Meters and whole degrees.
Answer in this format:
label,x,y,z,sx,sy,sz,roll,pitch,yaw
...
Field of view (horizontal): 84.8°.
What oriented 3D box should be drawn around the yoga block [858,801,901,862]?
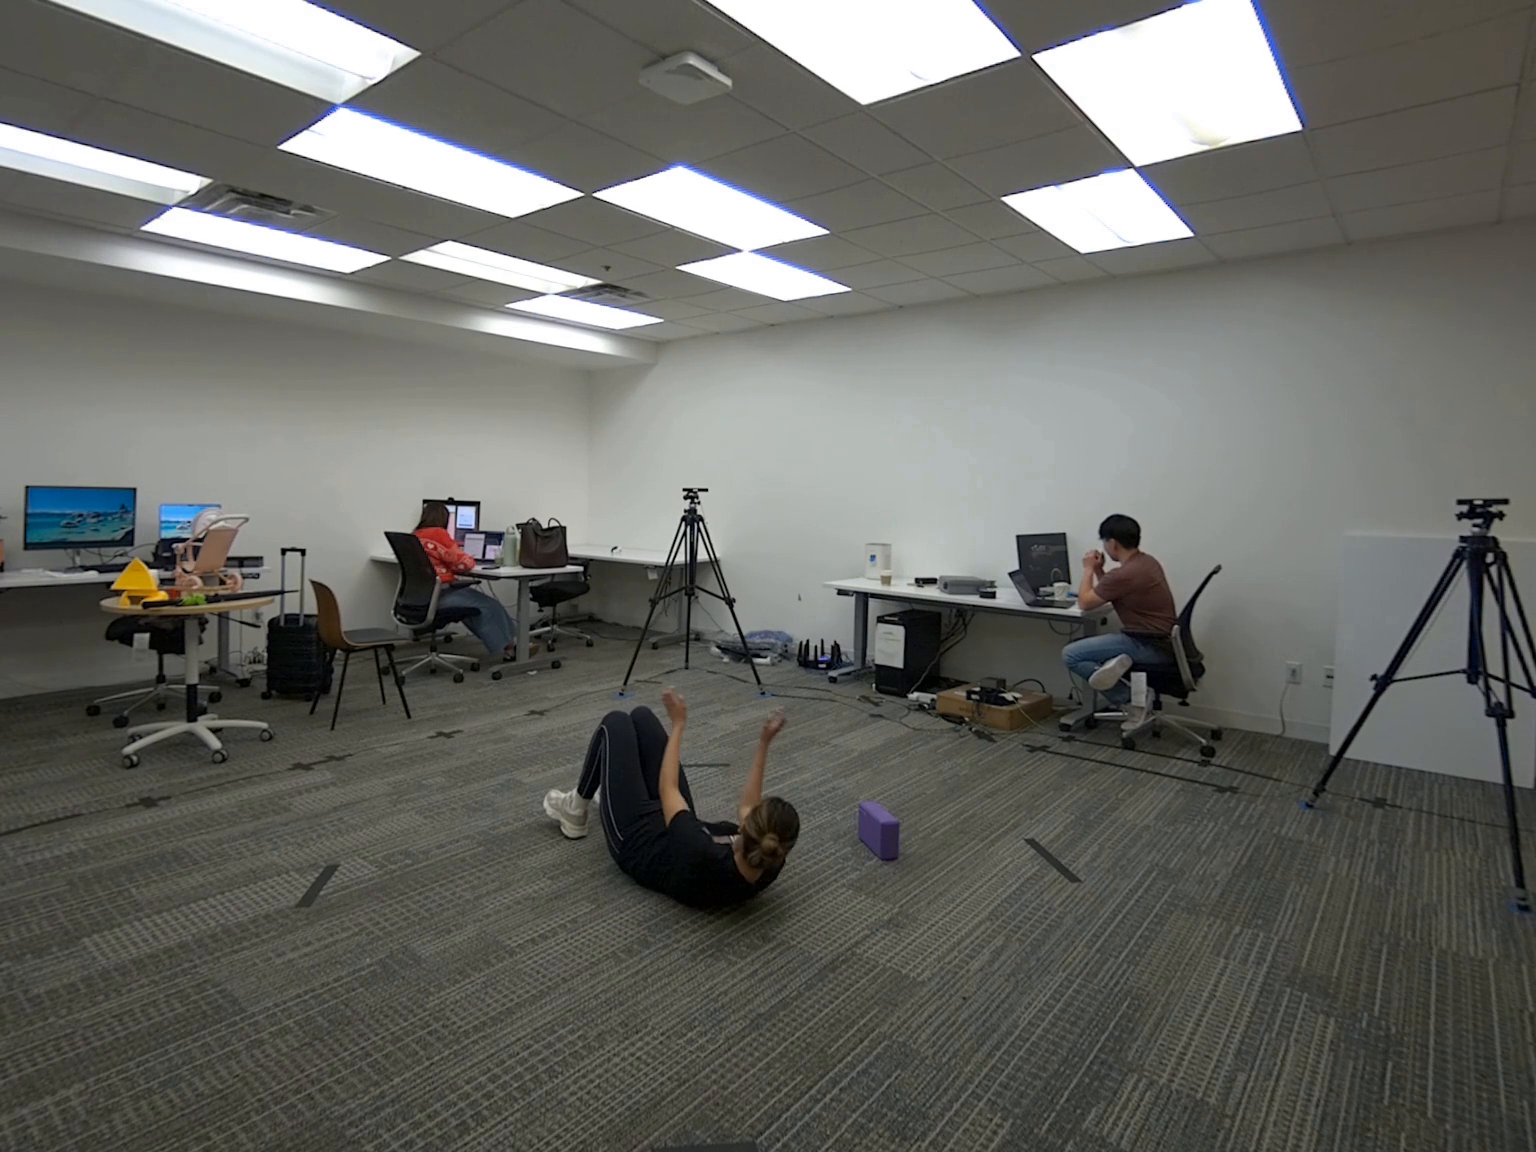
label,x,y,z,sx,sy,sz,roll,pitch,yaw
yoga block,0.427,0.991,3.320,0.075,0.148,0.234,2,4,-17
